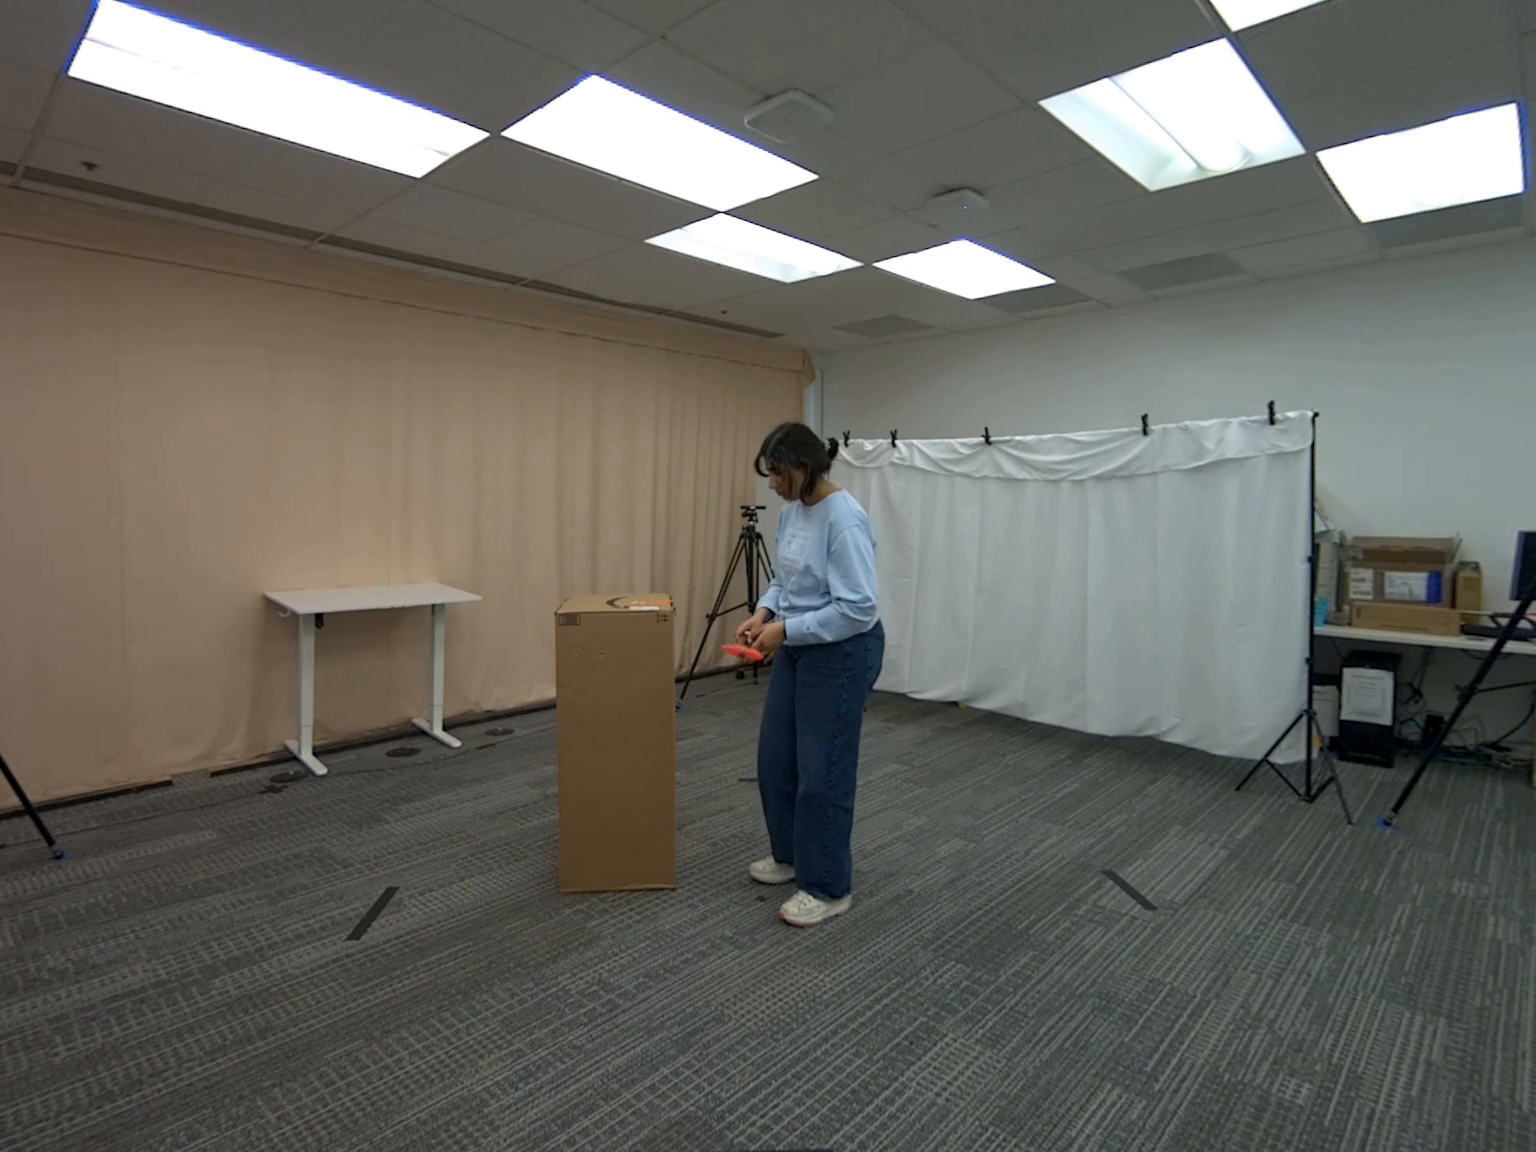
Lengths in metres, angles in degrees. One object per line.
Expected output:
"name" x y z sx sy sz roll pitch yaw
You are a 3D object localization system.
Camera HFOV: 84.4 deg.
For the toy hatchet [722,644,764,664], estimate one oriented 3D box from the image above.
"toy hatchet" -0.043 0.232 2.742 0.134 0.029 0.265 16 13 17
